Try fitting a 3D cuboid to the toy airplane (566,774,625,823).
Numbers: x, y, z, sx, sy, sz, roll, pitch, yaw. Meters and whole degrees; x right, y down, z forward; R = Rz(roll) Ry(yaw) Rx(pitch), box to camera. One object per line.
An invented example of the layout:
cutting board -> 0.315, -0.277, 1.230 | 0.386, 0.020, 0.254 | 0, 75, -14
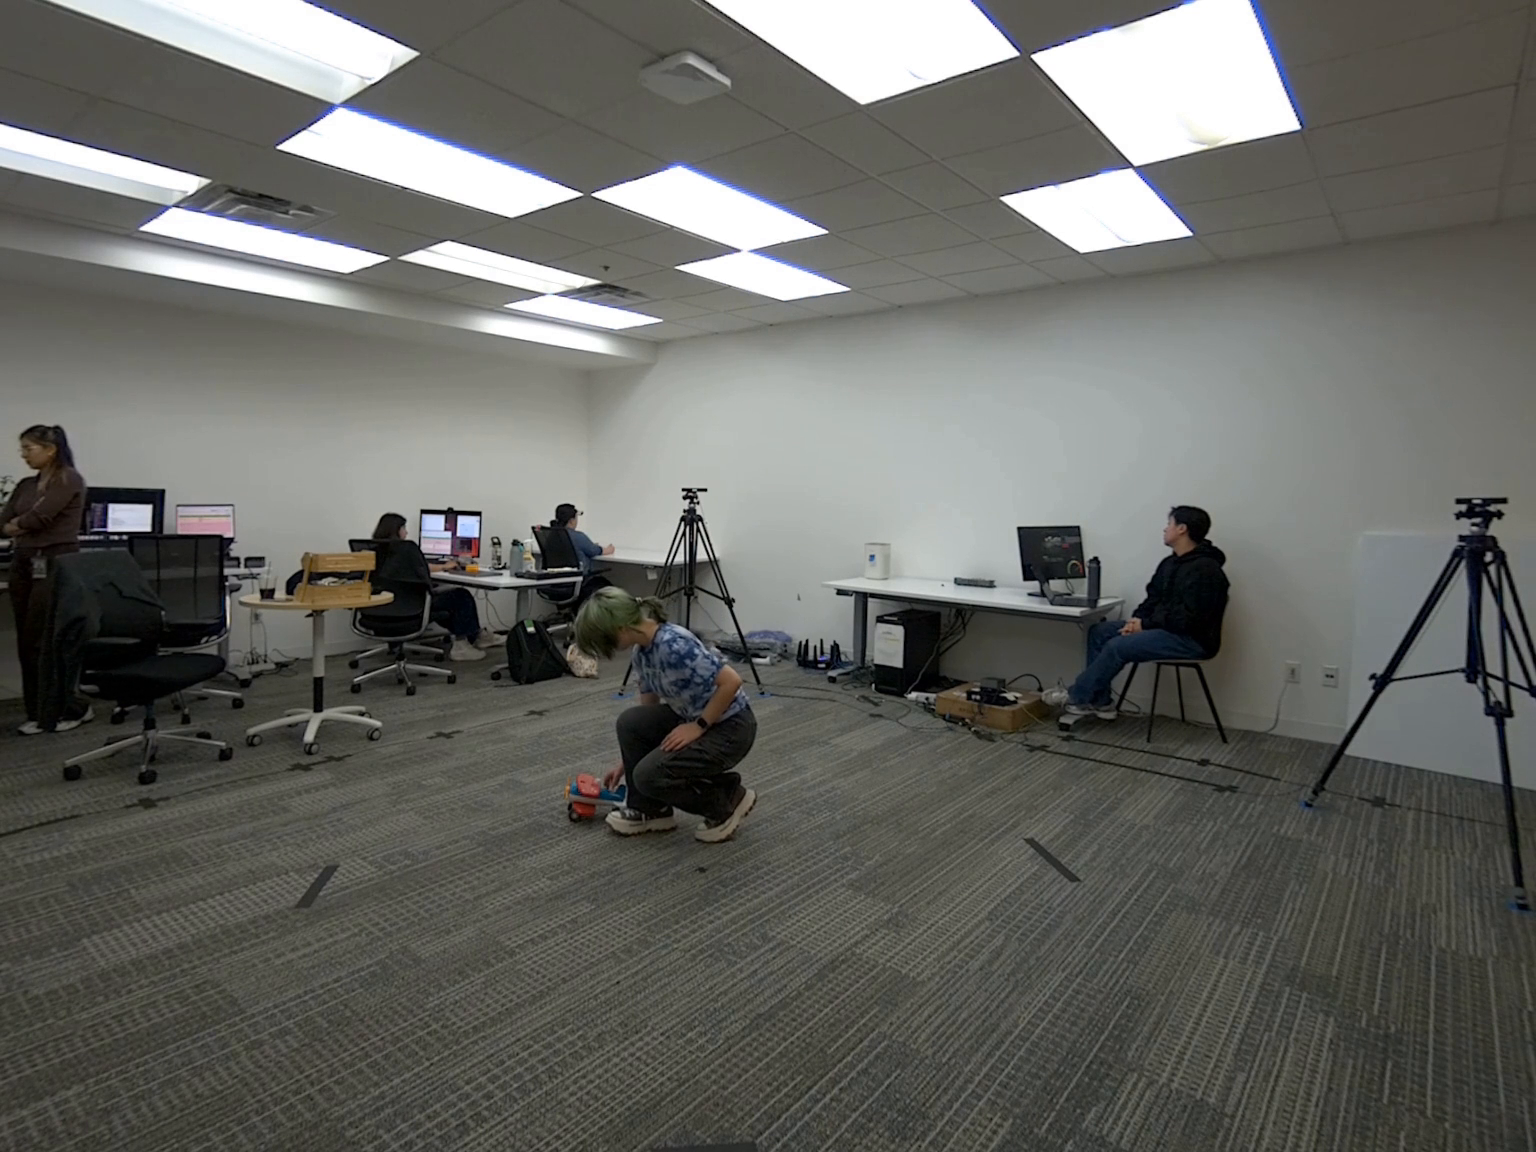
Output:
toy airplane -> -0.751, 0.941, 3.617 | 0.251, 0.156, 0.260 | -3, 6, -41
